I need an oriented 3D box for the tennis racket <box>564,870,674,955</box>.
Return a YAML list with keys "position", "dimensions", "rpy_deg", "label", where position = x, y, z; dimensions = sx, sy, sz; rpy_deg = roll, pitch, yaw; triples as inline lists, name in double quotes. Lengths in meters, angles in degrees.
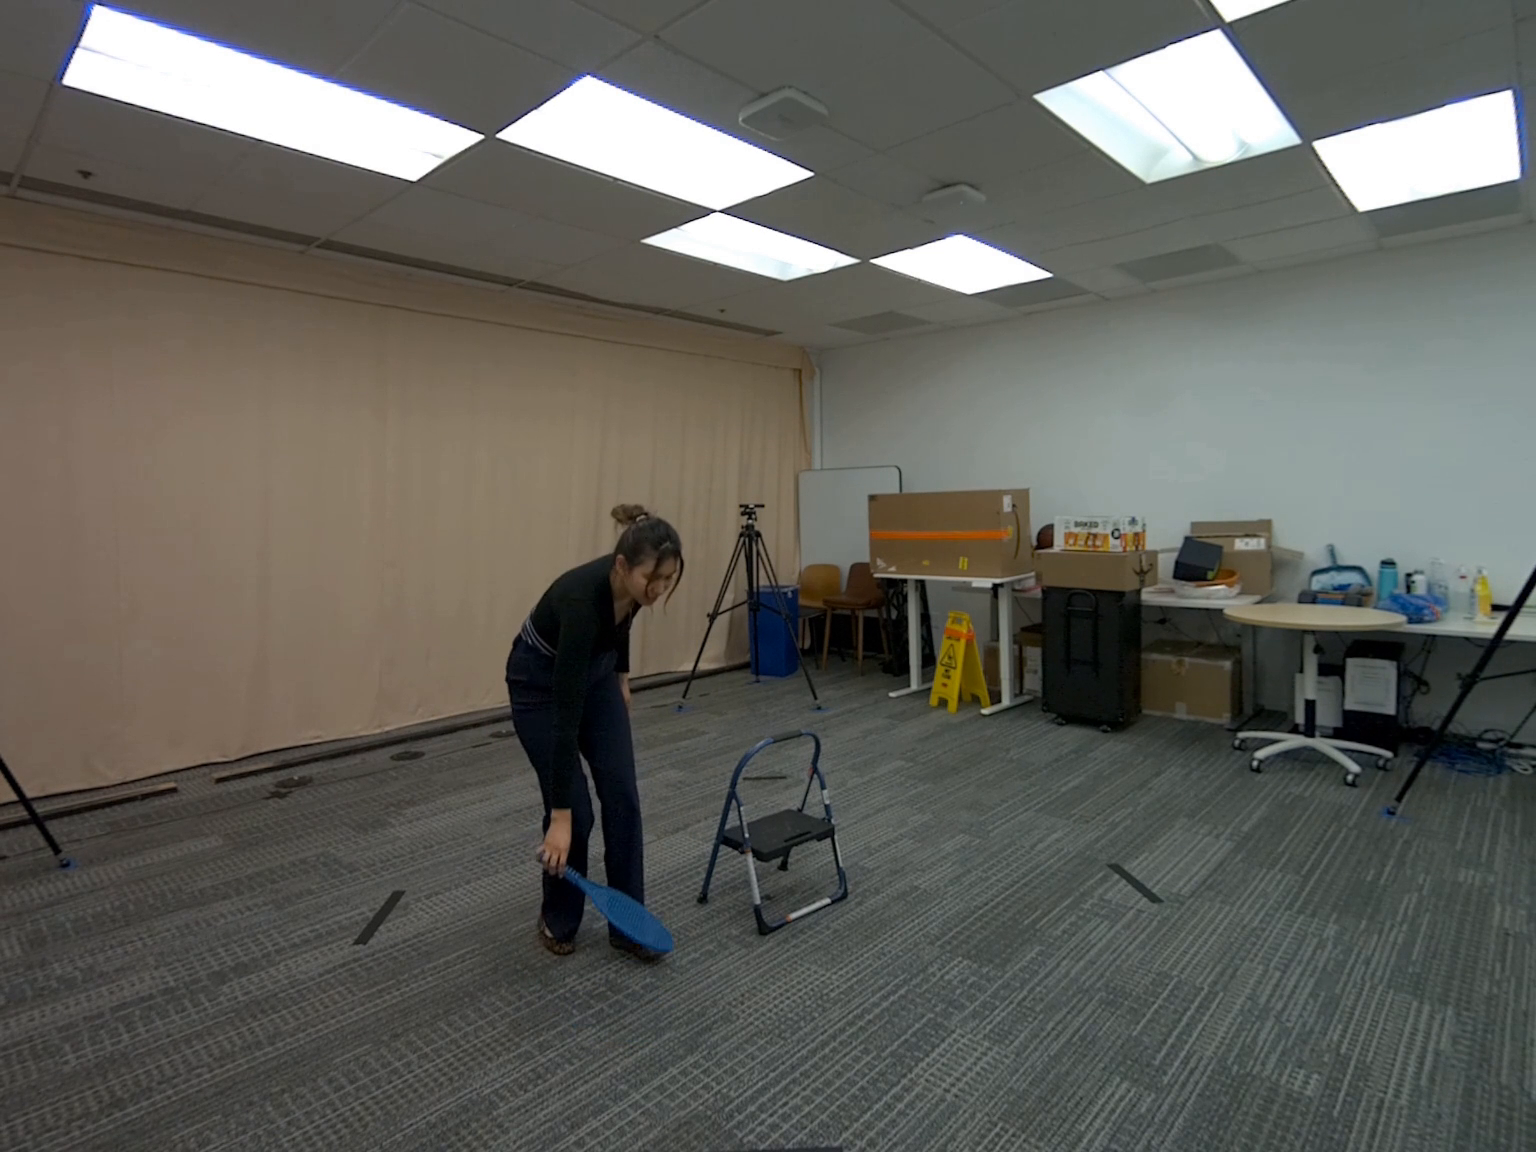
- position: [-0.426, 0.882, 2.282]
  dimensions: [0.435, 0.032, 0.213]
  rpy_deg: [35, -1, 3]
  label: "tennis racket"
